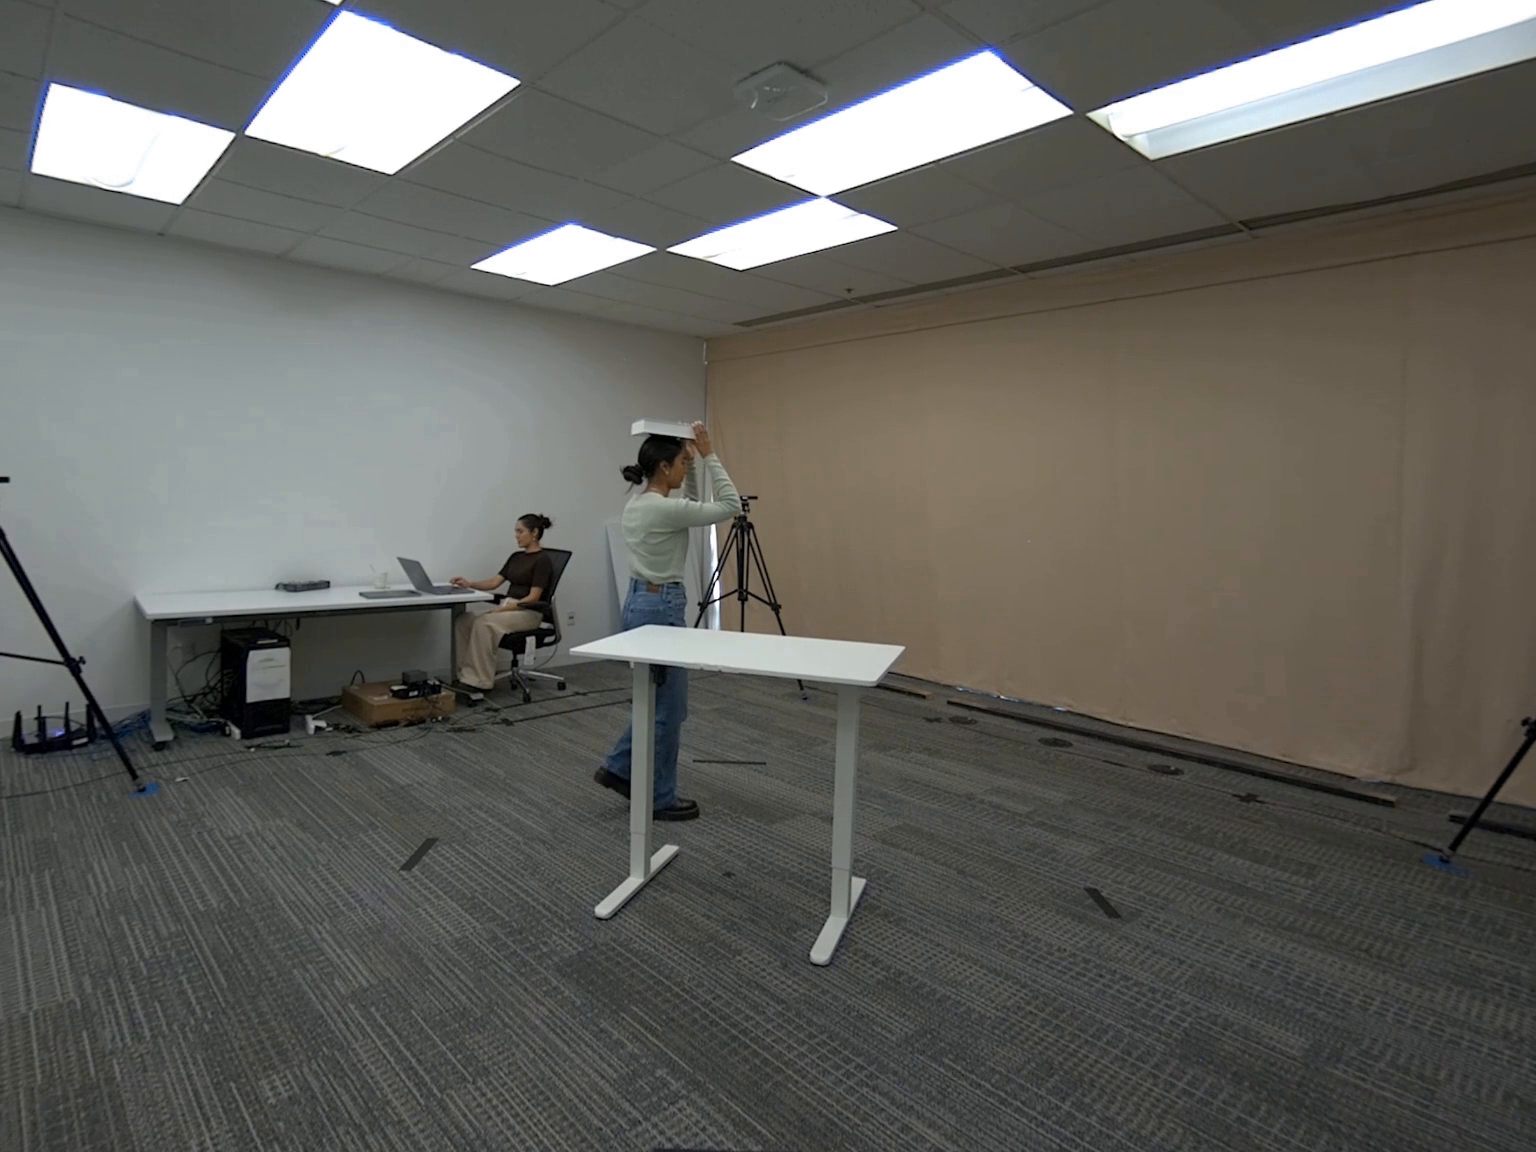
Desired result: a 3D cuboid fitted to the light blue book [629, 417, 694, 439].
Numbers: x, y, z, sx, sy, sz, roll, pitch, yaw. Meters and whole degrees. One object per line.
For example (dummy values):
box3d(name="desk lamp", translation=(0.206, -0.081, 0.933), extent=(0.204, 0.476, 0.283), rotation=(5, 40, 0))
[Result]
box3d(name="light blue book", translation=(-0.437, -0.620, 3.582), extent=(0.256, 0.059, 0.195), rotation=(4, 3, -23))
